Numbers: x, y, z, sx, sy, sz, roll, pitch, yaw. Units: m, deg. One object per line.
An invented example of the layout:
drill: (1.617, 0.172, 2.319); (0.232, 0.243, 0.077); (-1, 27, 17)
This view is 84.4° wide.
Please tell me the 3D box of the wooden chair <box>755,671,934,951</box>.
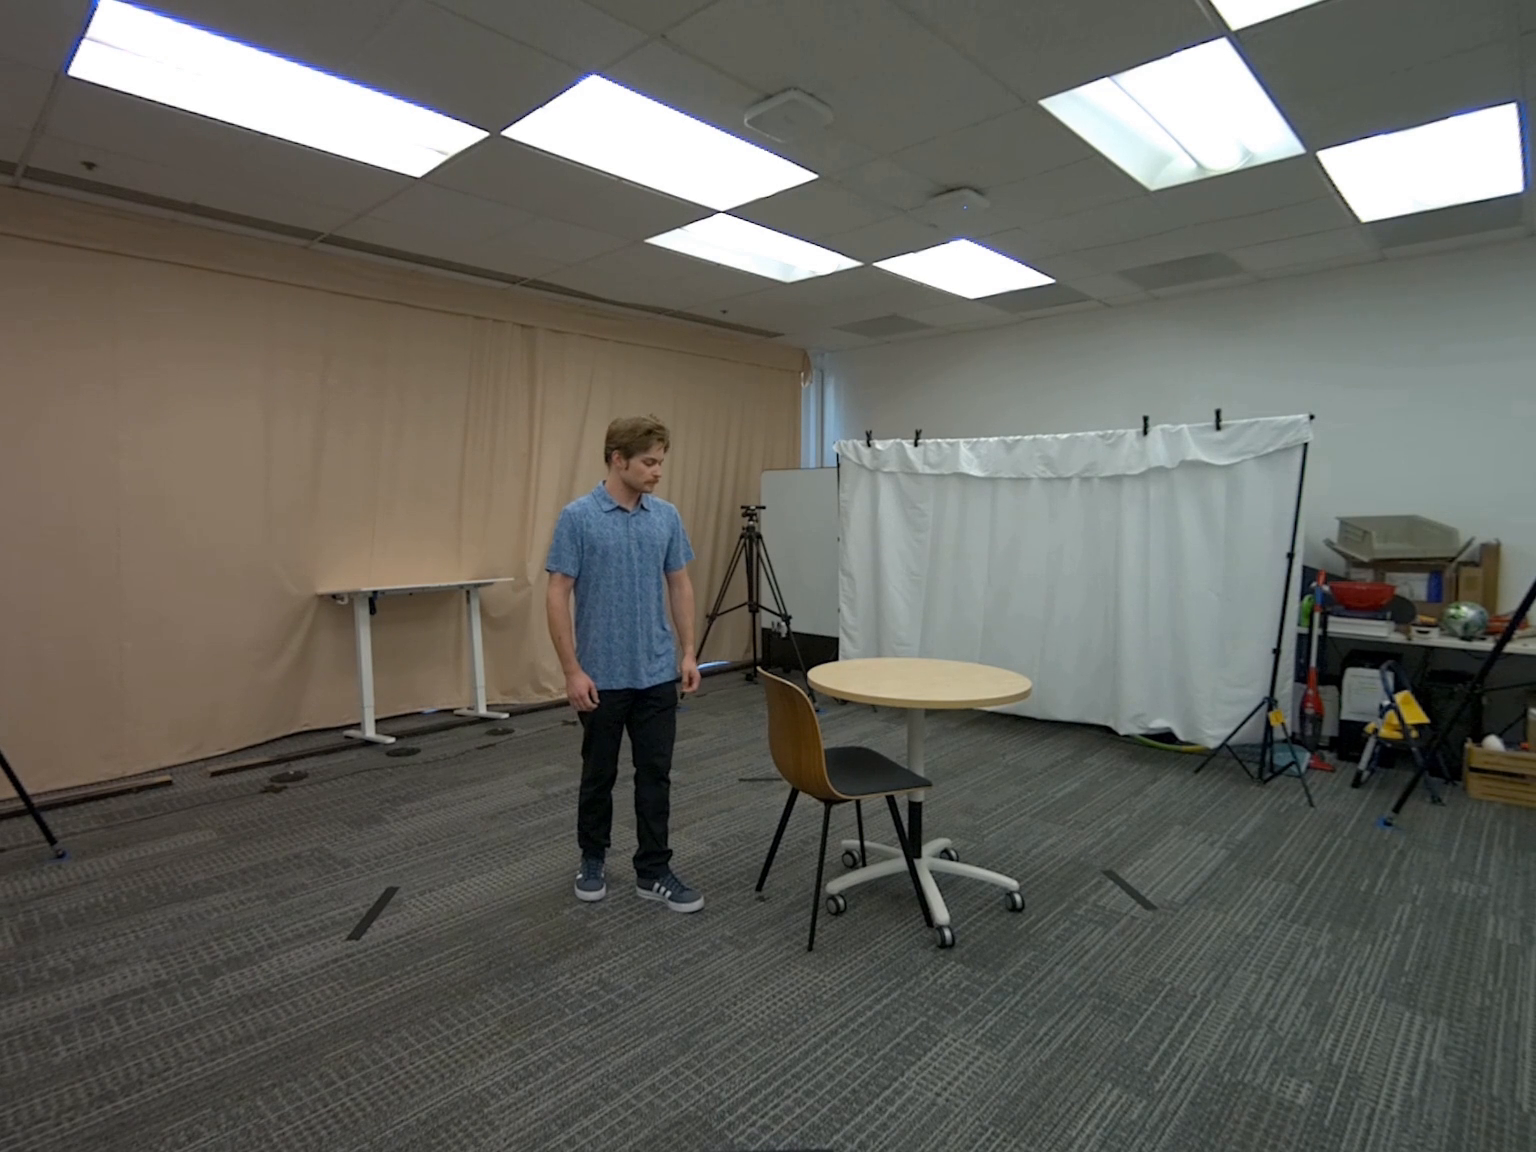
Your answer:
wooden chair: (0.256, 0.723, 2.876); (0.513, 0.875, 0.489); (-6, 4, -21)
